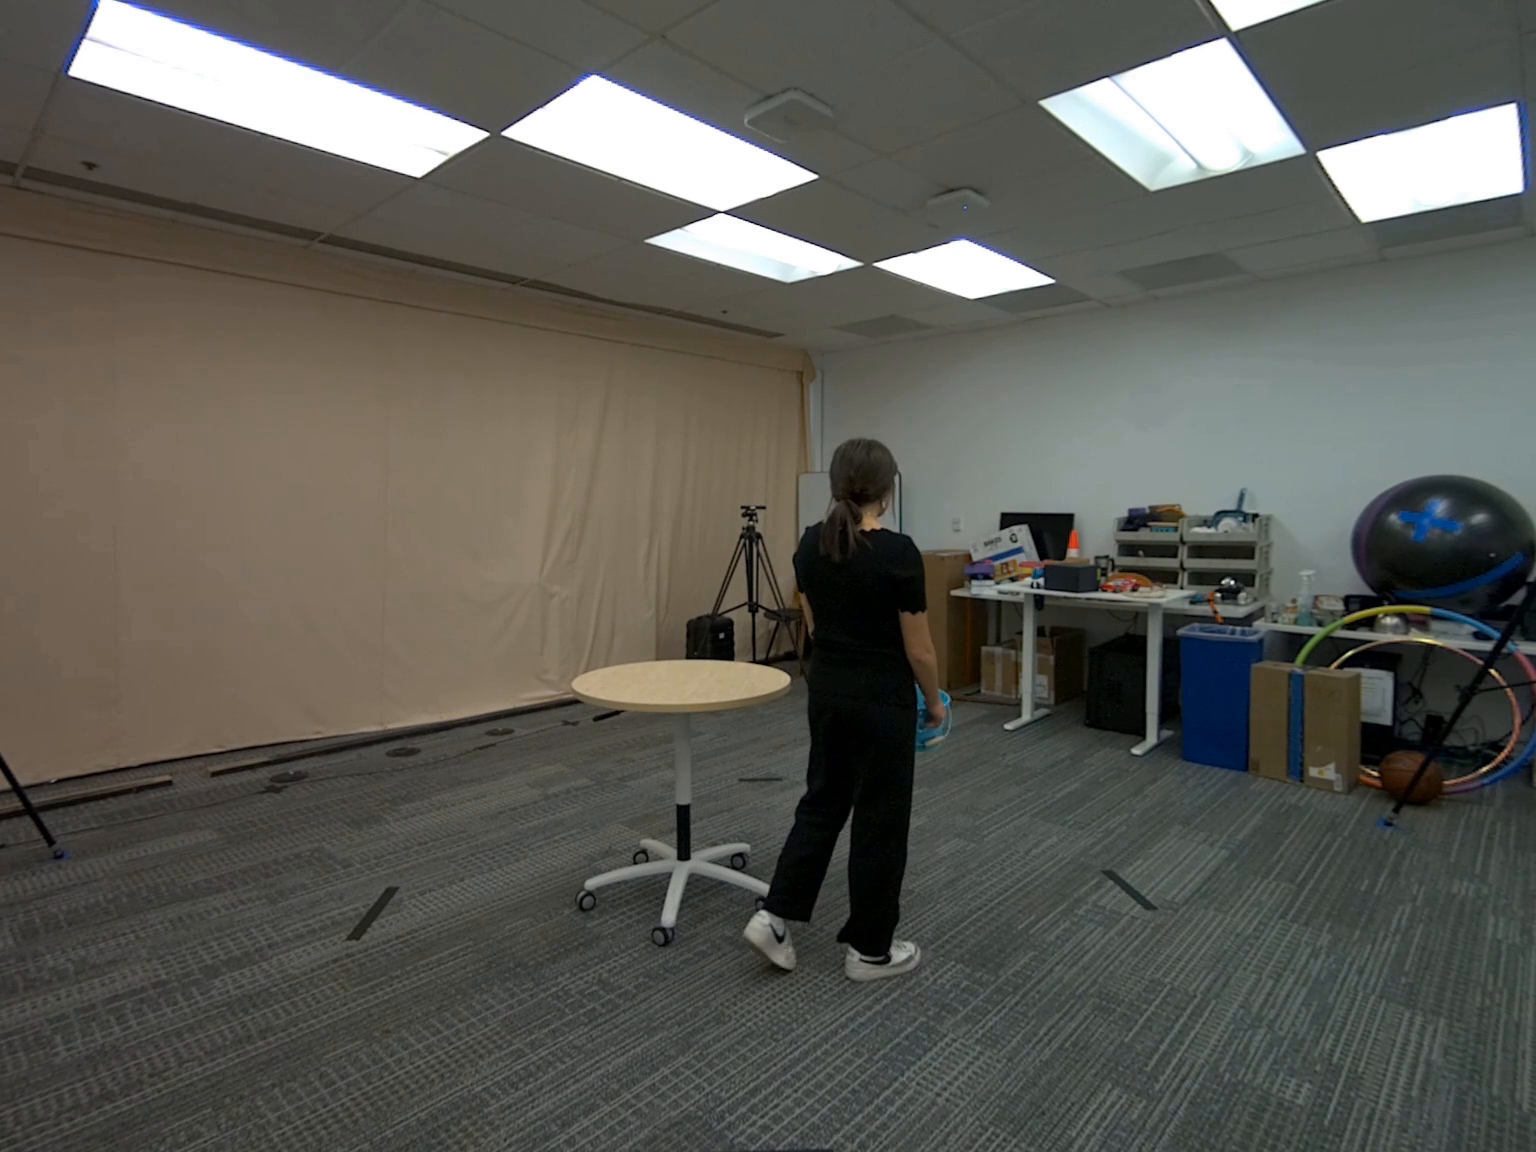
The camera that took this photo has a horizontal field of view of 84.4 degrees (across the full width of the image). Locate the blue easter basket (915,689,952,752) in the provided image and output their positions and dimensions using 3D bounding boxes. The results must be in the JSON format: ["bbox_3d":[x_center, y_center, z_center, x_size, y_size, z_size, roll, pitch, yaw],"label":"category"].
[{"bbox_3d":[0.461,0.464,2.666,0.243,0.155,0.245,0,9,-2],"label":"blue easter basket"}]
